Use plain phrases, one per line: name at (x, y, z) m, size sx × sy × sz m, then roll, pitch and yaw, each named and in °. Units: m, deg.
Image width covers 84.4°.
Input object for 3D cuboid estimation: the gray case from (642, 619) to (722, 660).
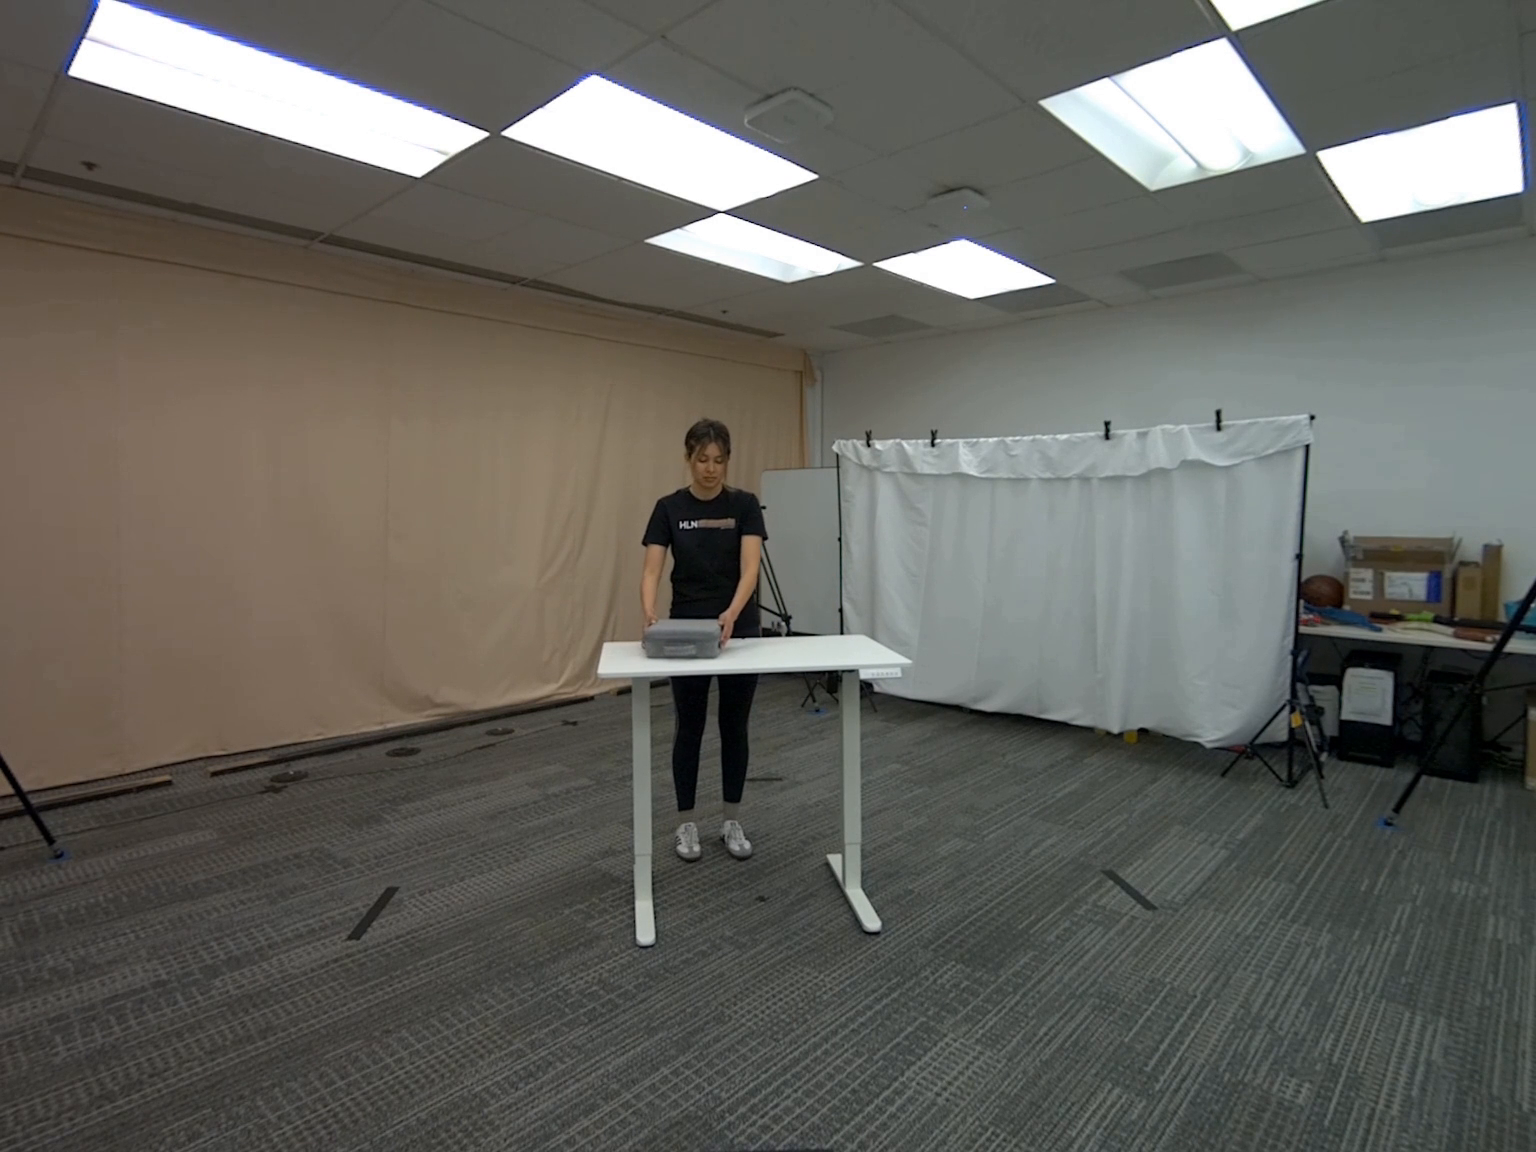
gray case at (-0.276, 0.217, 2.931) m, size 0.259 × 0.104 × 0.260 m, roll 0°, pitch 5°, yaw 5°
